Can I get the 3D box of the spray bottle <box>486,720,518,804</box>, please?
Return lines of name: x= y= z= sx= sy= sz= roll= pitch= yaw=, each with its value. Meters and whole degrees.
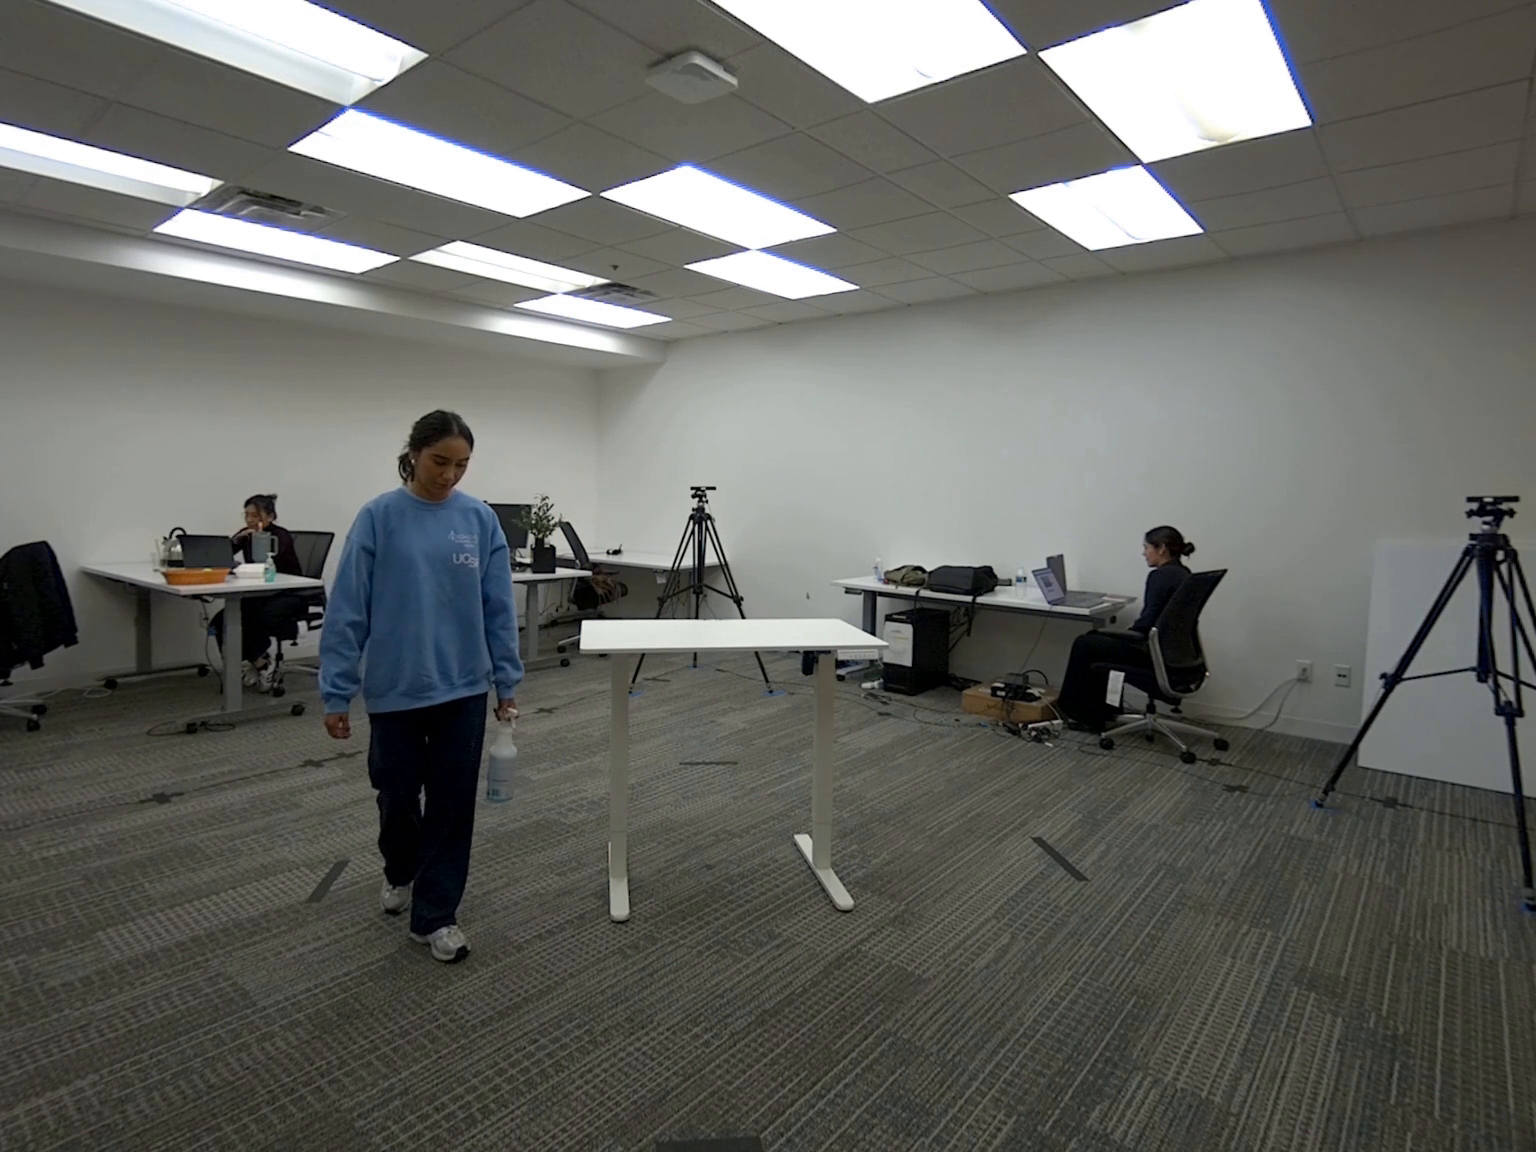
spray bottle: x=-0.857 y=0.573 z=2.689 sx=0.085 sy=0.296 sz=0.092 roll=5 pitch=5 yaw=-19
